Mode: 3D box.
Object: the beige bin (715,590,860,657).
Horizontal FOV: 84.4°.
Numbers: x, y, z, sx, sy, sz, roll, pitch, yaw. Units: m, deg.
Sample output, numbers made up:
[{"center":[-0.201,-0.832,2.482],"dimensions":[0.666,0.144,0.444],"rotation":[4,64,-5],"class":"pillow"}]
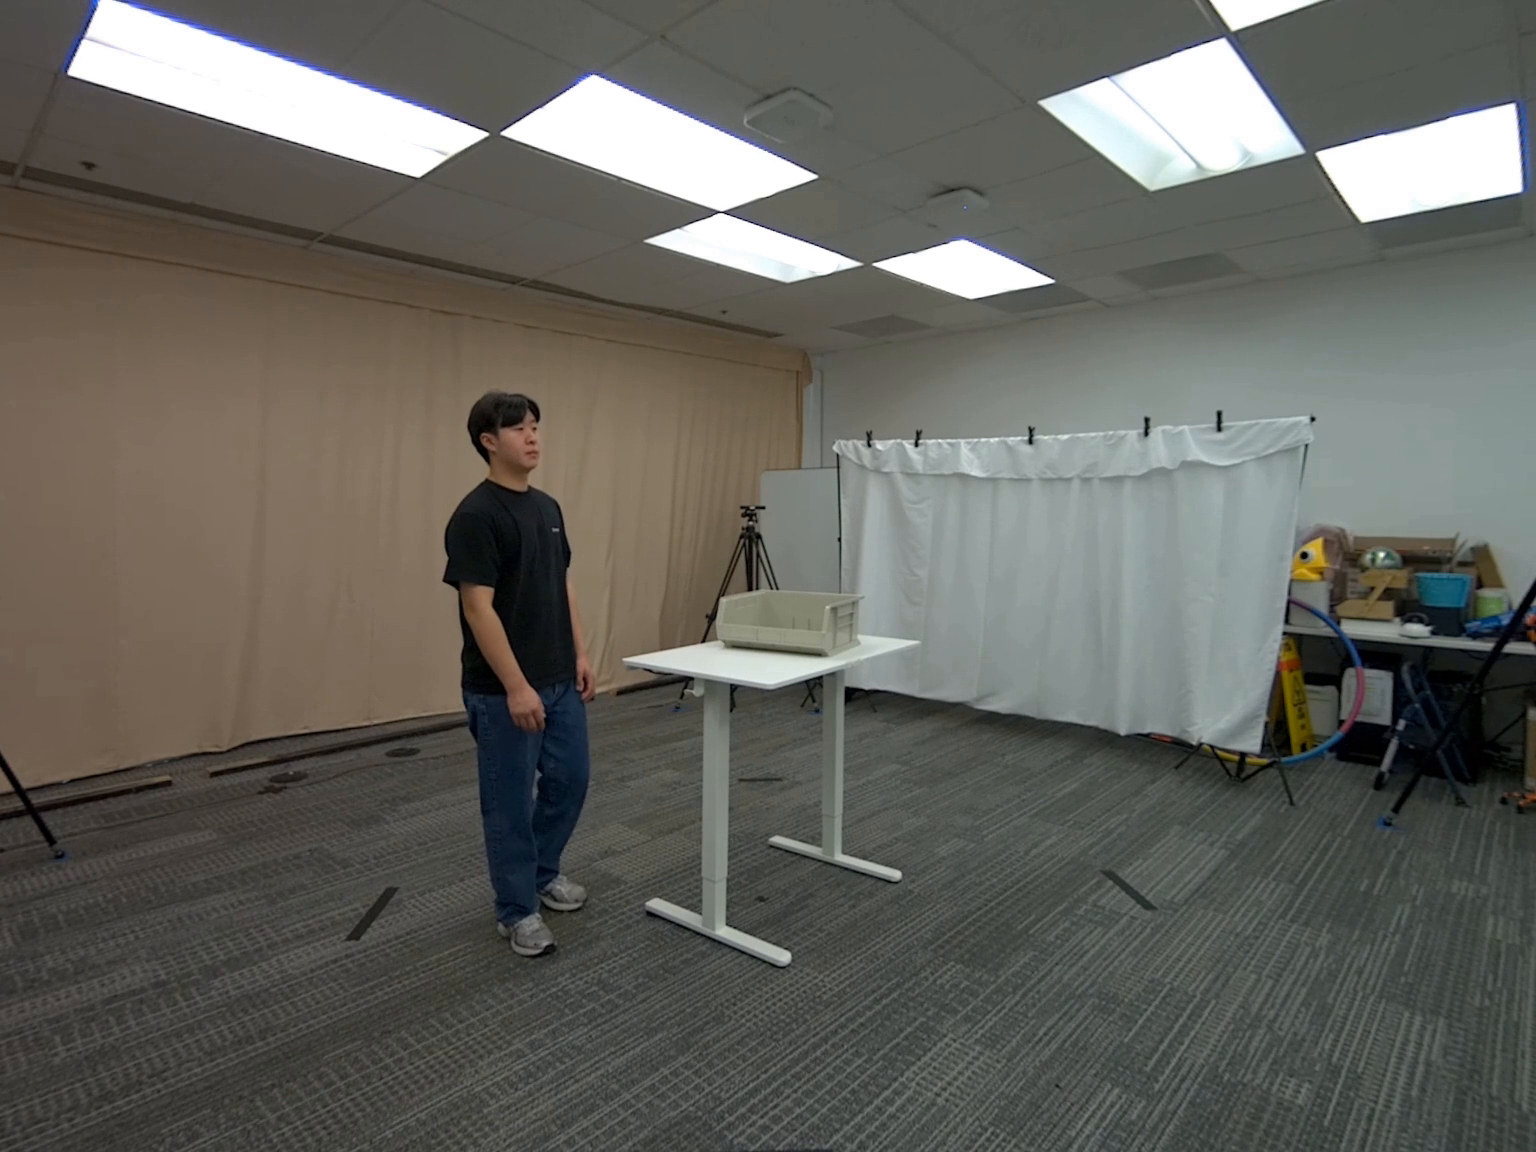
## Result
[{"center":[0.091,0.171,3.050],"dimensions":[0.433,0.189,0.368],"rotation":[3,3,26],"class":"beige bin"}]
